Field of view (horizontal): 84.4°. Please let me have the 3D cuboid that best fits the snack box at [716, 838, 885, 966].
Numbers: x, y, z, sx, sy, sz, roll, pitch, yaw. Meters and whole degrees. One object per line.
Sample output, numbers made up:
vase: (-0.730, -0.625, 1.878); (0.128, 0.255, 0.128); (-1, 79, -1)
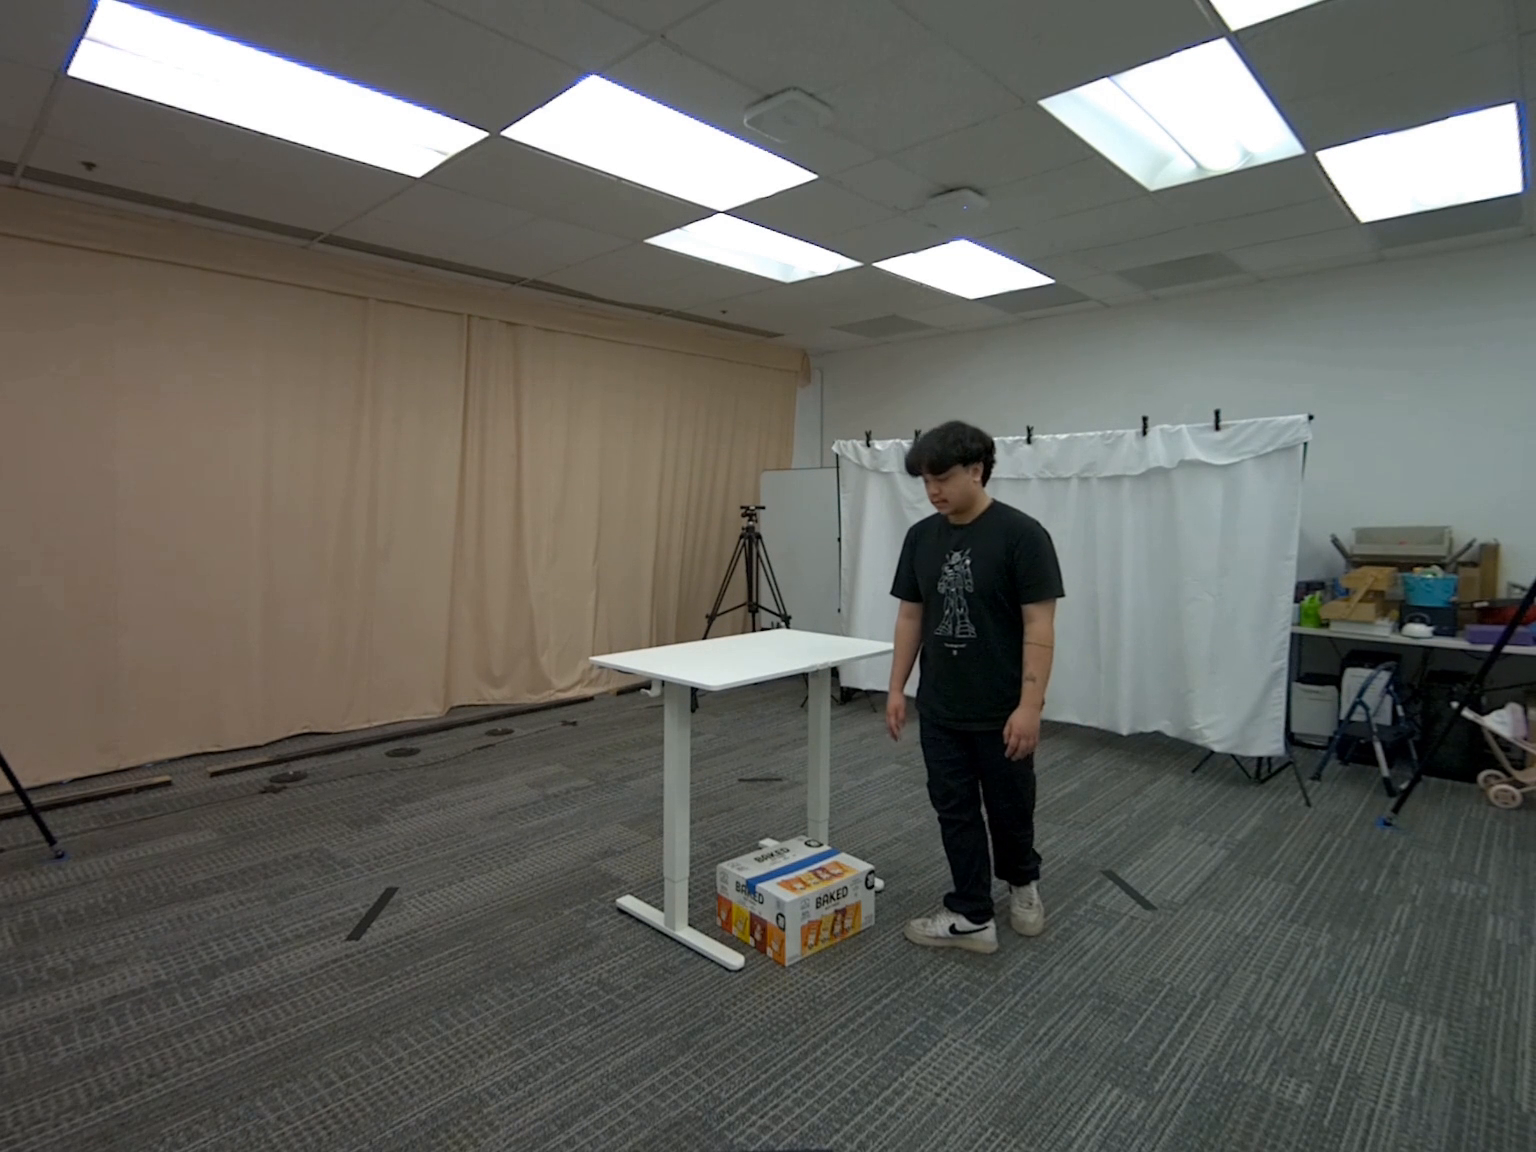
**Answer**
snack box: (0.094, 1.061, 2.786); (0.393, 0.205, 0.351); (-4, 6, -41)
